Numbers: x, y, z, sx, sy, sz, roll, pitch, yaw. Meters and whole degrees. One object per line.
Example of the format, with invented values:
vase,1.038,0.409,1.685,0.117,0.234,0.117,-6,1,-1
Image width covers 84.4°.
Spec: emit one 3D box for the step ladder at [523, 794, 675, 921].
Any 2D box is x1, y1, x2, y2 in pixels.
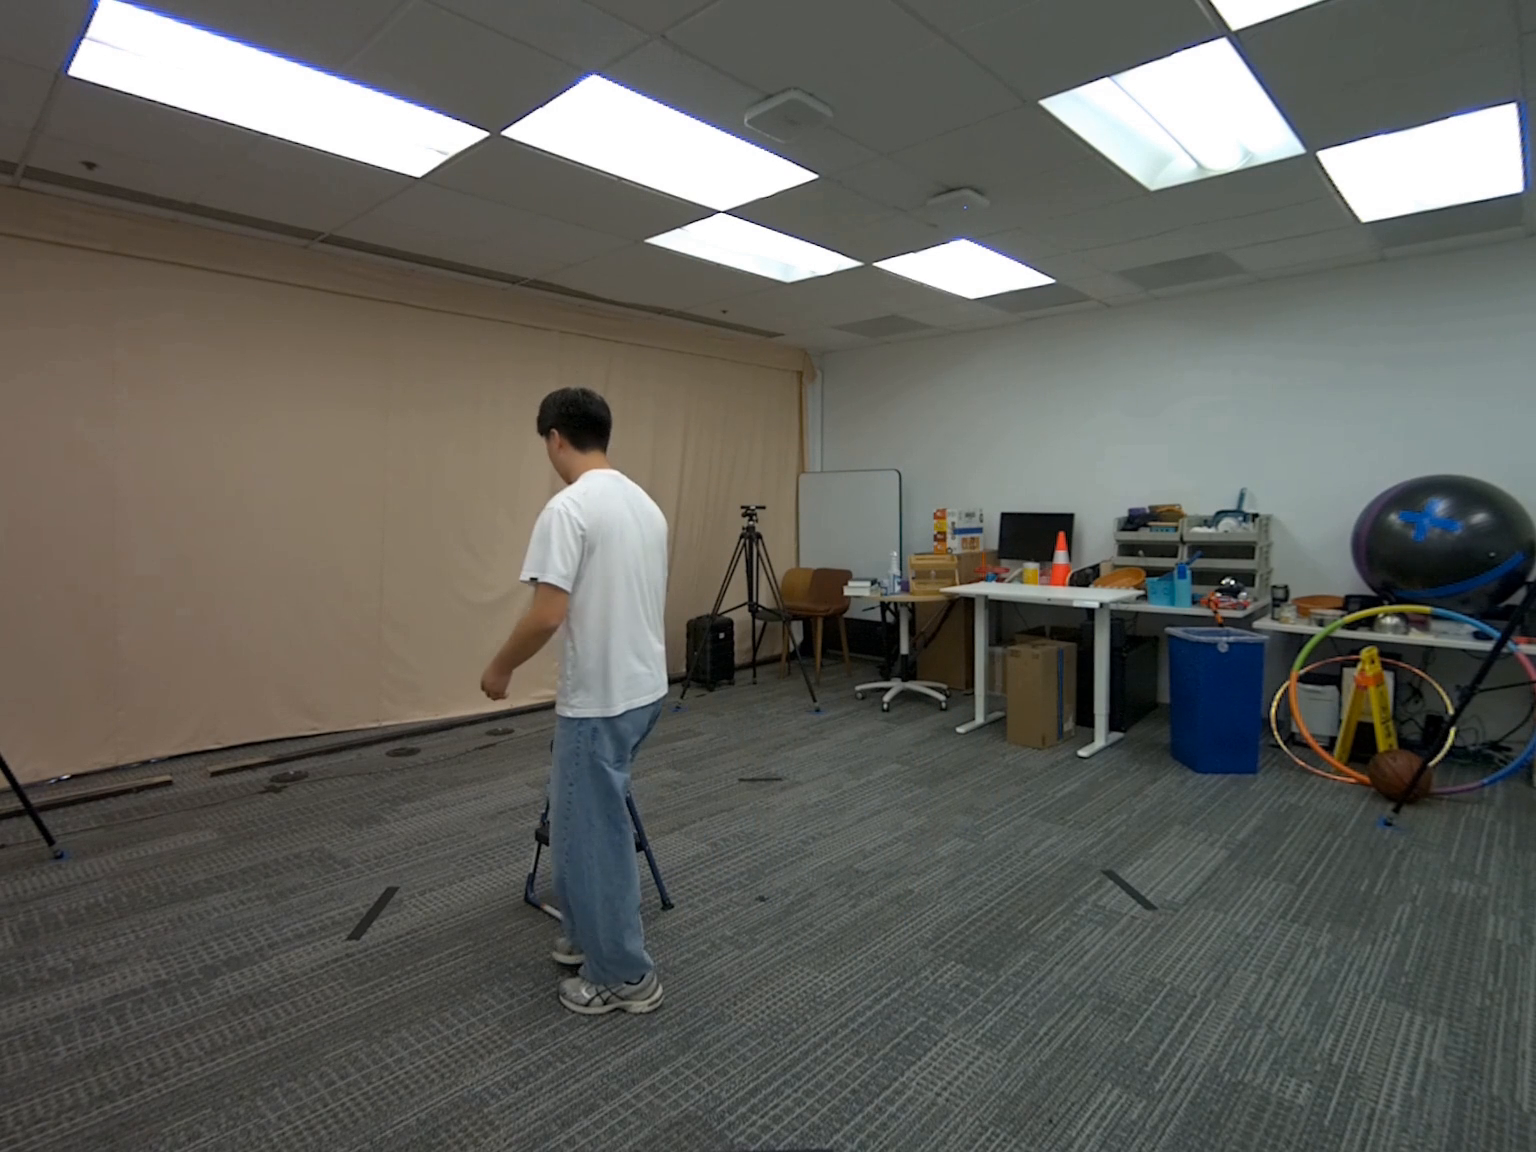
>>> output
step ladder,-0.600,0.847,2.935,0.445,0.605,0.338,3,4,43
